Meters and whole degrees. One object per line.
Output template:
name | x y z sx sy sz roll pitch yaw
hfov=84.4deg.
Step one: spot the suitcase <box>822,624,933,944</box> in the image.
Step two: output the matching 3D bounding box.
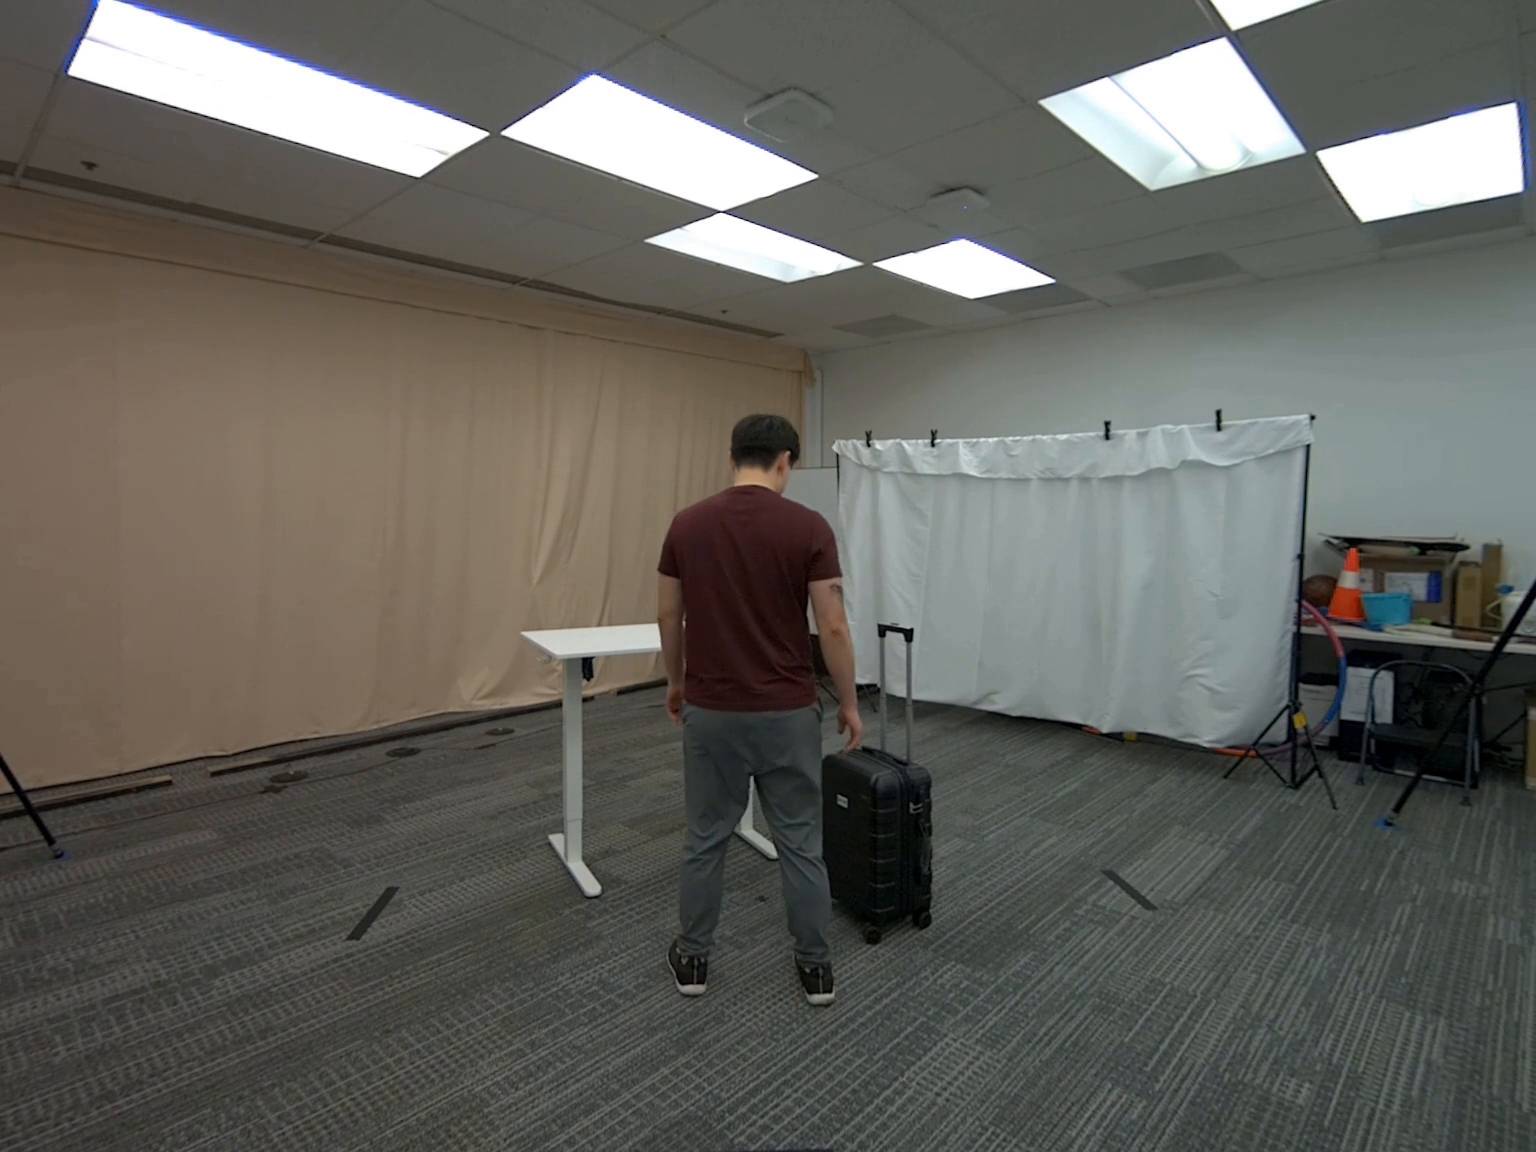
suitcase | 0.363 0.673 2.843 0.251 0.976 0.394 -3 4 -27
